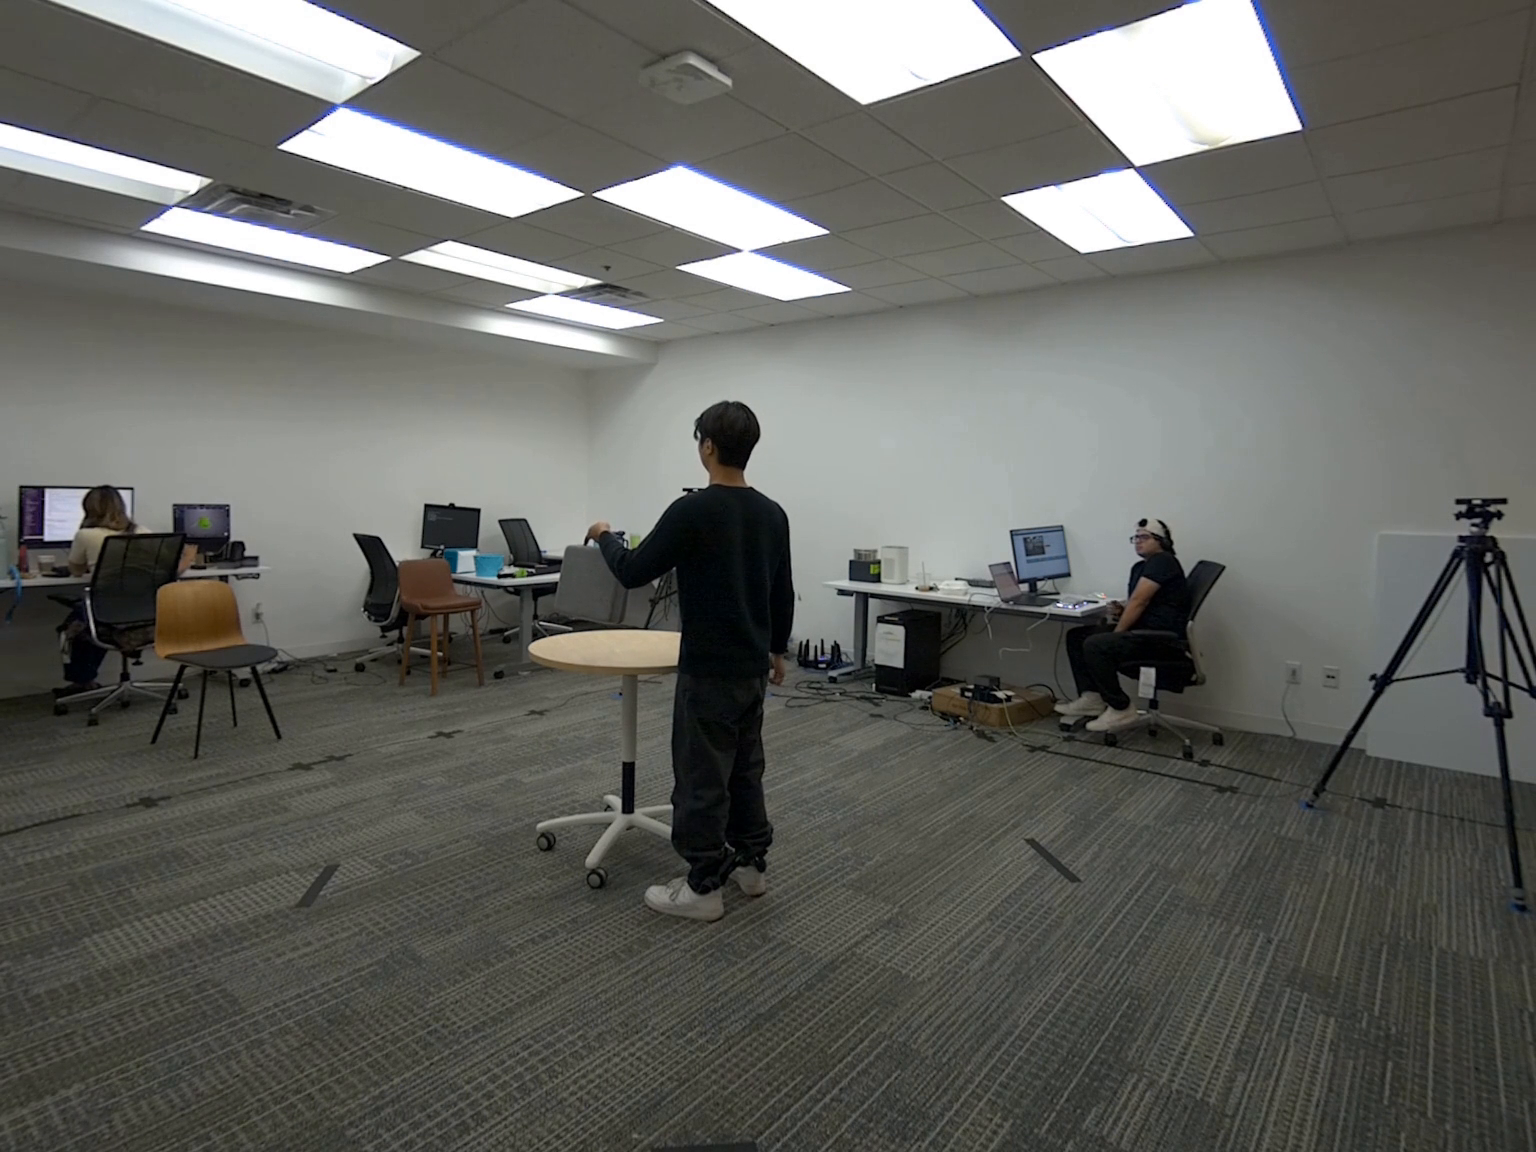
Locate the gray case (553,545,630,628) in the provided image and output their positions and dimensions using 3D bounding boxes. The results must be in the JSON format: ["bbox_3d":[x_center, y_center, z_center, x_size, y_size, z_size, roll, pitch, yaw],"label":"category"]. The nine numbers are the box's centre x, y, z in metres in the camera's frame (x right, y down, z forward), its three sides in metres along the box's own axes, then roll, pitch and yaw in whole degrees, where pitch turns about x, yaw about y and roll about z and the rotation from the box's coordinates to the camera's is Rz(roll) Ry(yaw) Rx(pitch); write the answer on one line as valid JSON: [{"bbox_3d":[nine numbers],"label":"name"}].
[{"bbox_3d":[-0.609,0.023,2.959,0.264,0.261,0.101,8,-2,25],"label":"gray case"}]
